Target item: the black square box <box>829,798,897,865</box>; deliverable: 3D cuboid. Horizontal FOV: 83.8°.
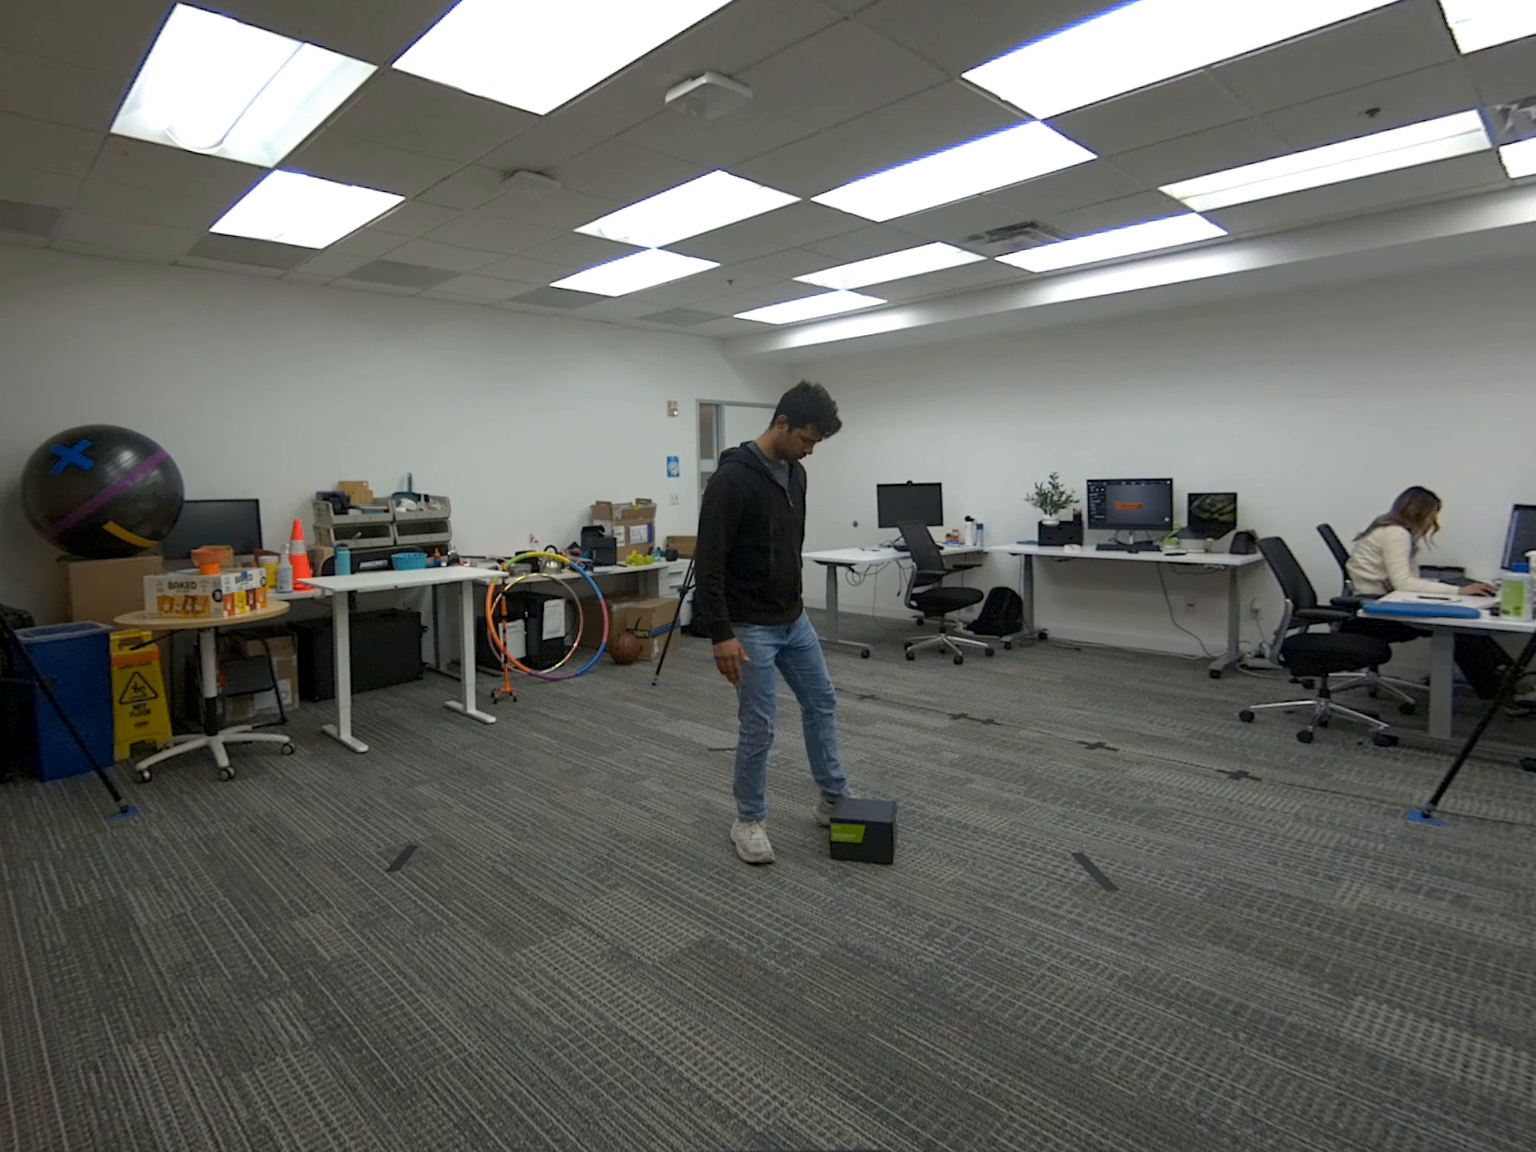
[{"bbox_3d":[0.345,0.939,3.192,0.231,0.155,0.215,1,5,14],"label":"black square box"}]
